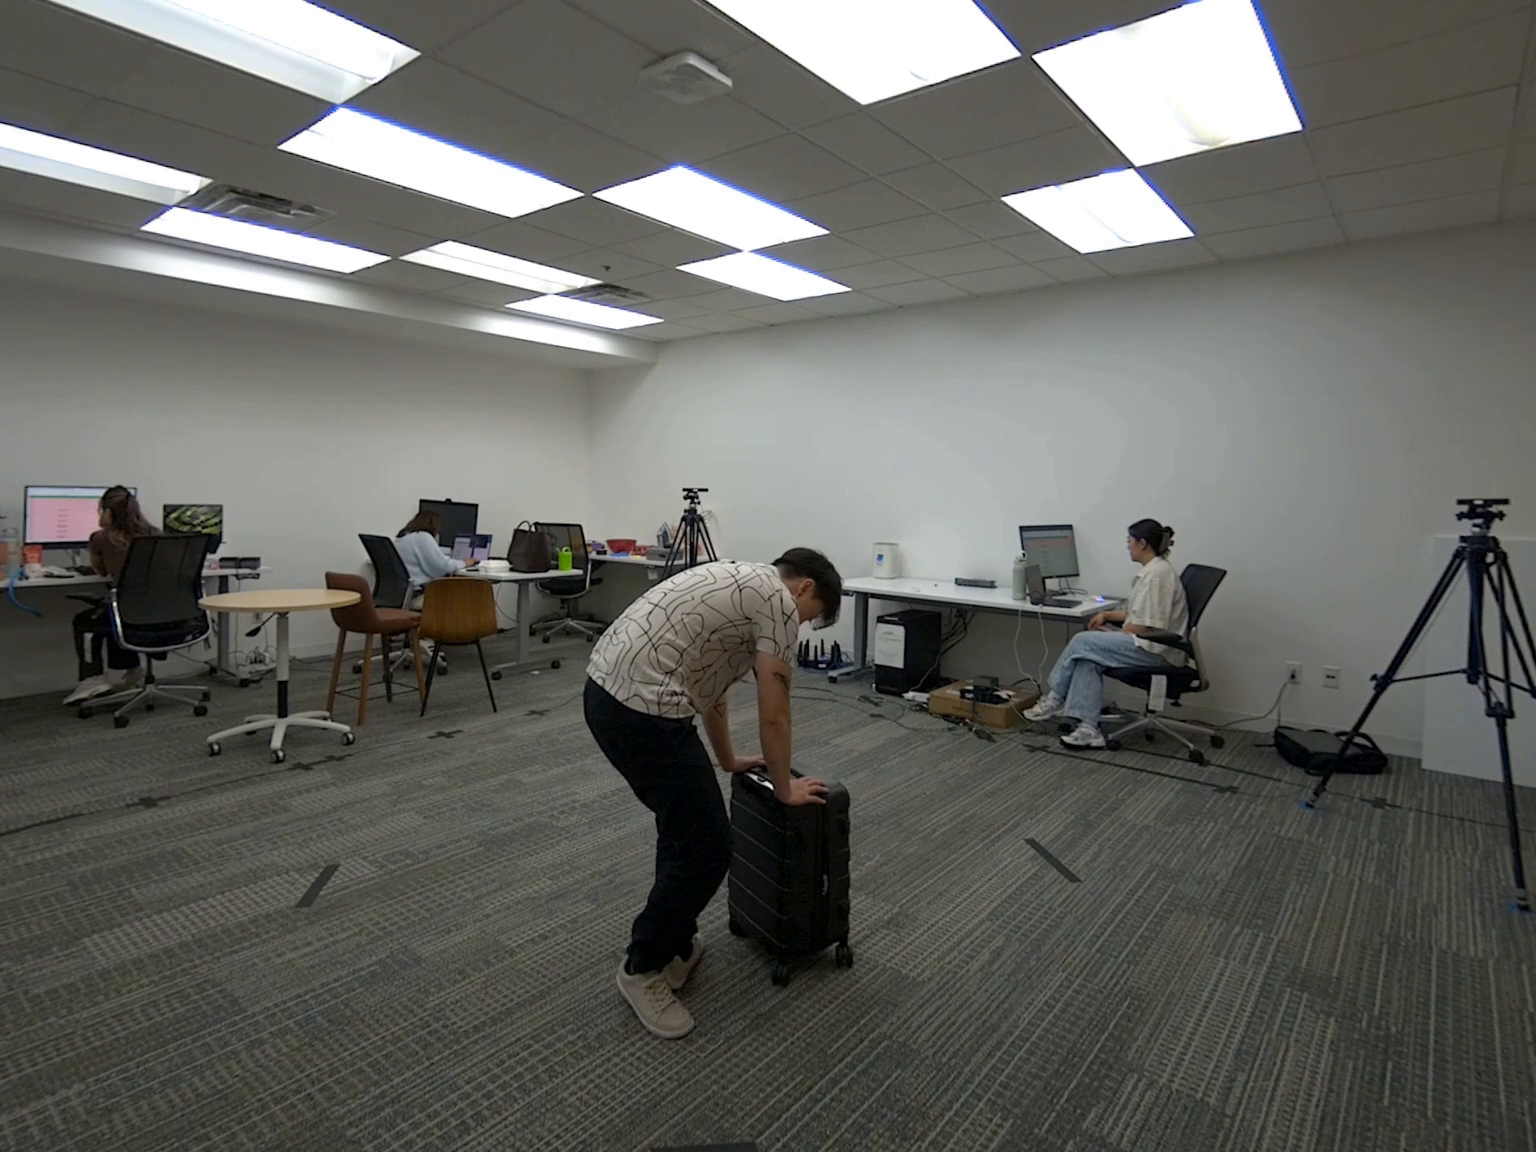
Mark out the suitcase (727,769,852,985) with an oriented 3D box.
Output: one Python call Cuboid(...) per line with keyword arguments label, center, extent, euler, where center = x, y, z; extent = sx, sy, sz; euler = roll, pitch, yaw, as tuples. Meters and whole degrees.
Cuboid(label="suitcase", center=(0.052, 0.851, 2.584), extent=(0.242, 0.548, 0.387), euler=(-1, 4, -31))
